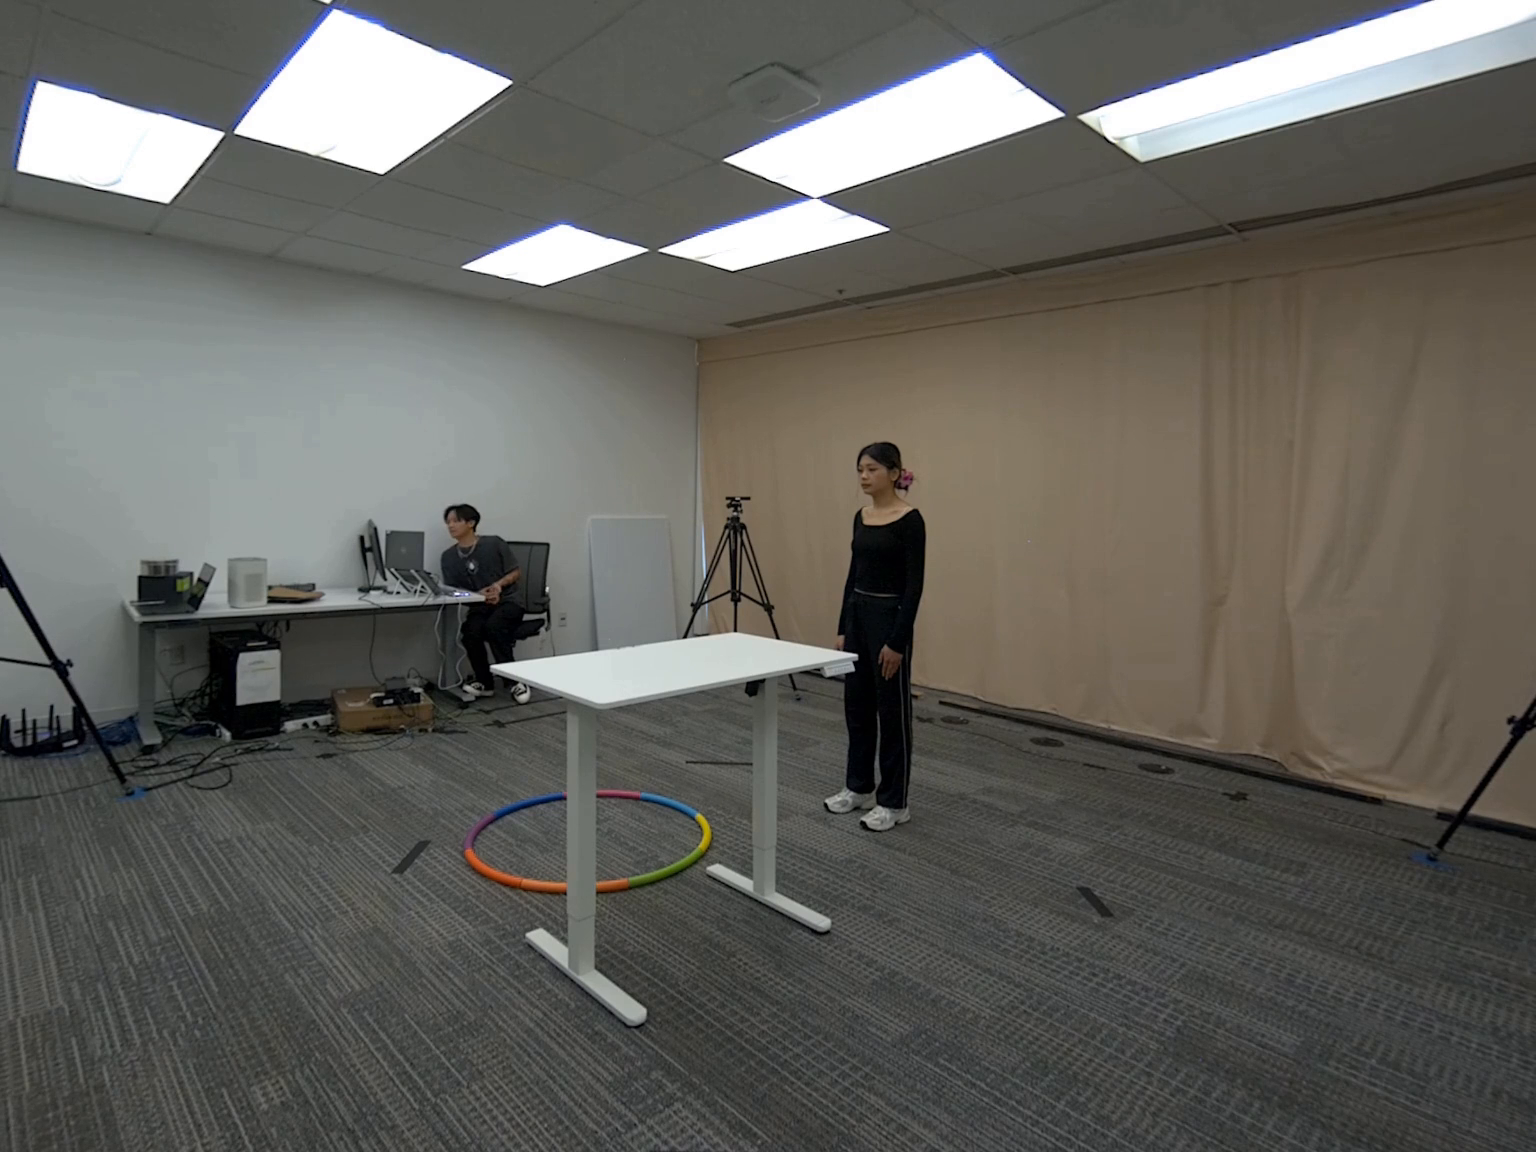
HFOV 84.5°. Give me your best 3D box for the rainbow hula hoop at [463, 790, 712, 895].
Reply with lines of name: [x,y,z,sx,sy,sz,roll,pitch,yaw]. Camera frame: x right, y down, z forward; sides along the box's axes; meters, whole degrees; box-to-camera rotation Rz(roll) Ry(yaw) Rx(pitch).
rainbow hula hoop: [-0.719,1.037,3.415,0.978,0.035,0.982,1,5,-1]
